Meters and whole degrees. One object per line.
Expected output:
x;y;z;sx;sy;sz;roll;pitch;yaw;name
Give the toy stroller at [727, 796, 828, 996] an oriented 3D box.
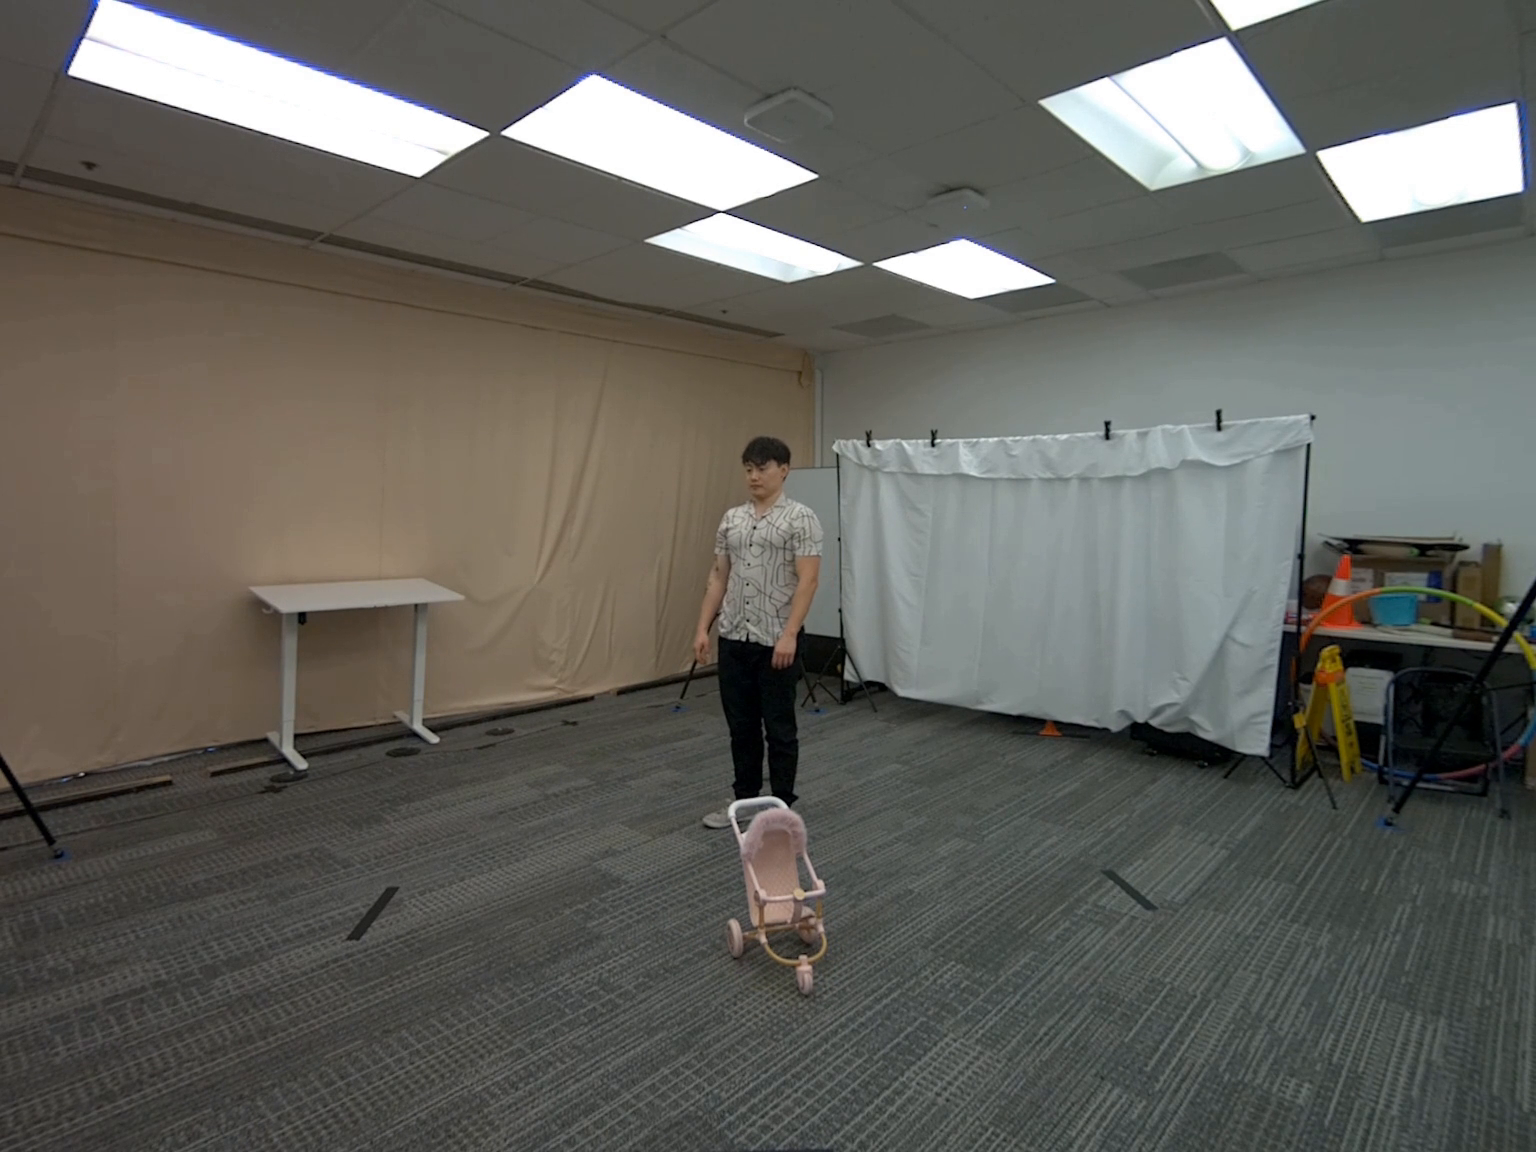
0.033;0.951;2.580;0.277;0.540;0.344;-1;-13;-16;toy stroller
